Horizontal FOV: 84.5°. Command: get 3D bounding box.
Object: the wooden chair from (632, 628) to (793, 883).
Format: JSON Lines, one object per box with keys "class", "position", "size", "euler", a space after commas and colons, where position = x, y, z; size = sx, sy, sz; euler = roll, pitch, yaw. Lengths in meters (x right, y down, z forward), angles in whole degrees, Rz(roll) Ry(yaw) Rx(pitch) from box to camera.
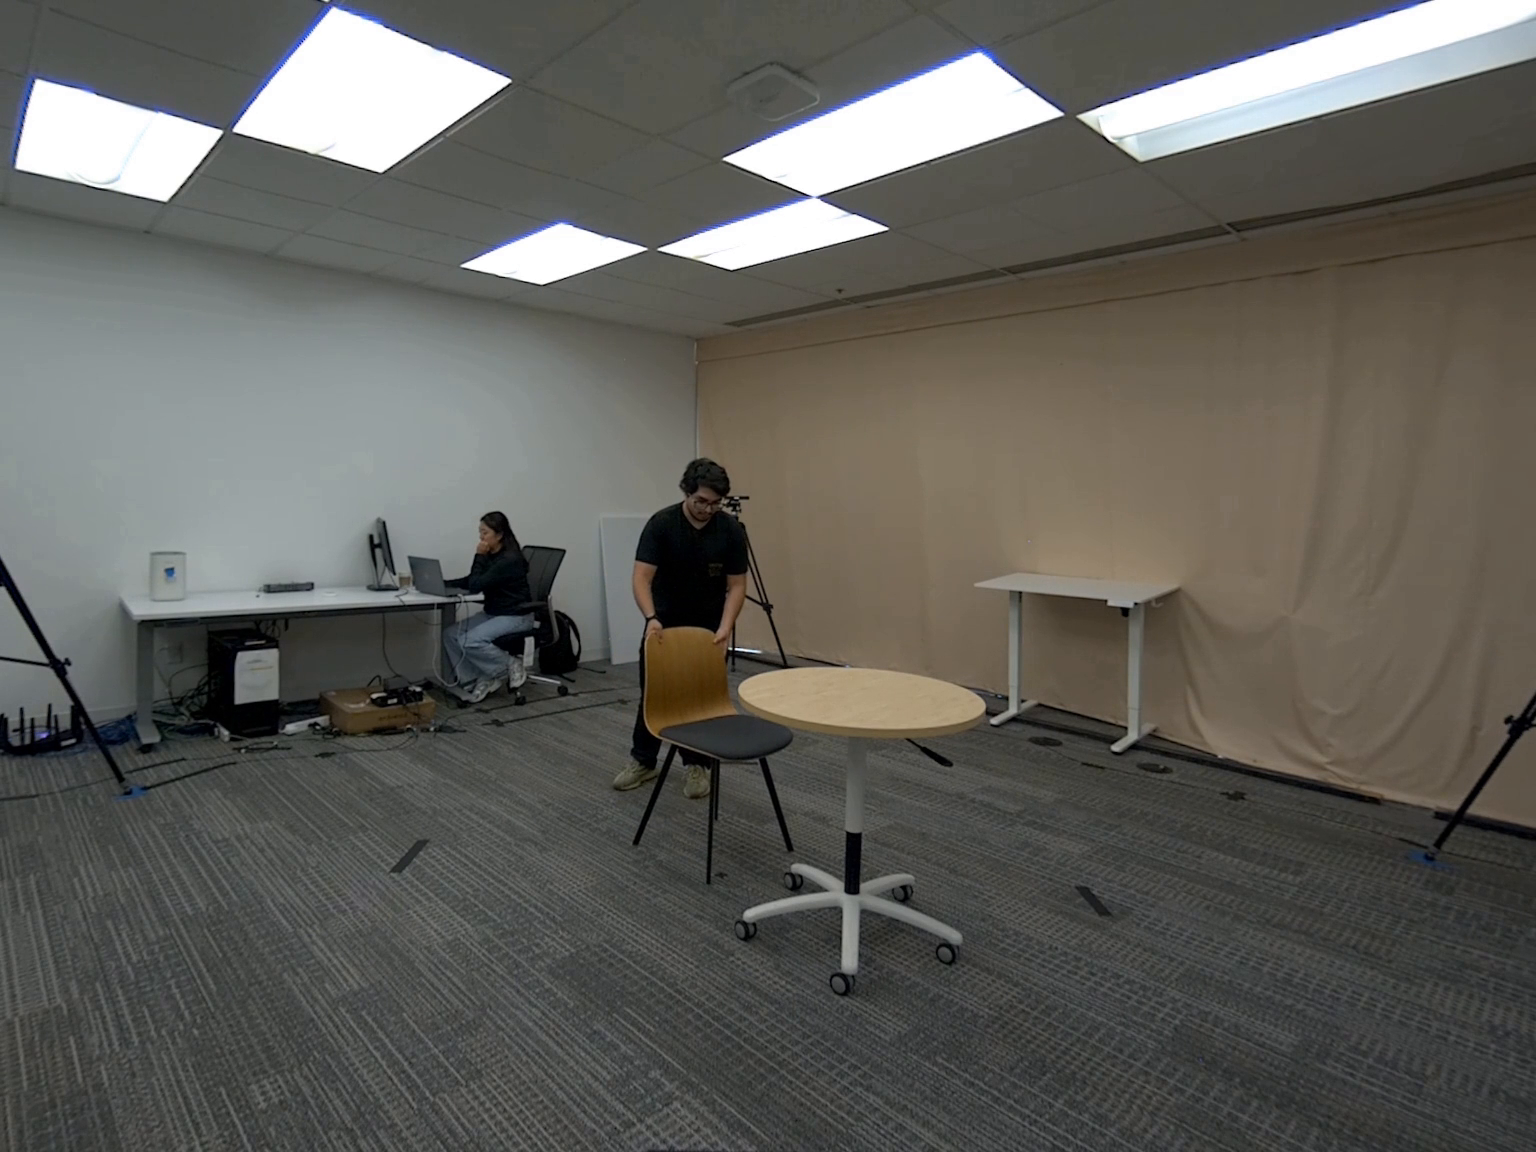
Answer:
{"class": "wooden chair", "position": [-0.211, 0.657, 3.303], "size": [0.467, 0.877, 0.535], "euler": [-2, 0, -45]}
